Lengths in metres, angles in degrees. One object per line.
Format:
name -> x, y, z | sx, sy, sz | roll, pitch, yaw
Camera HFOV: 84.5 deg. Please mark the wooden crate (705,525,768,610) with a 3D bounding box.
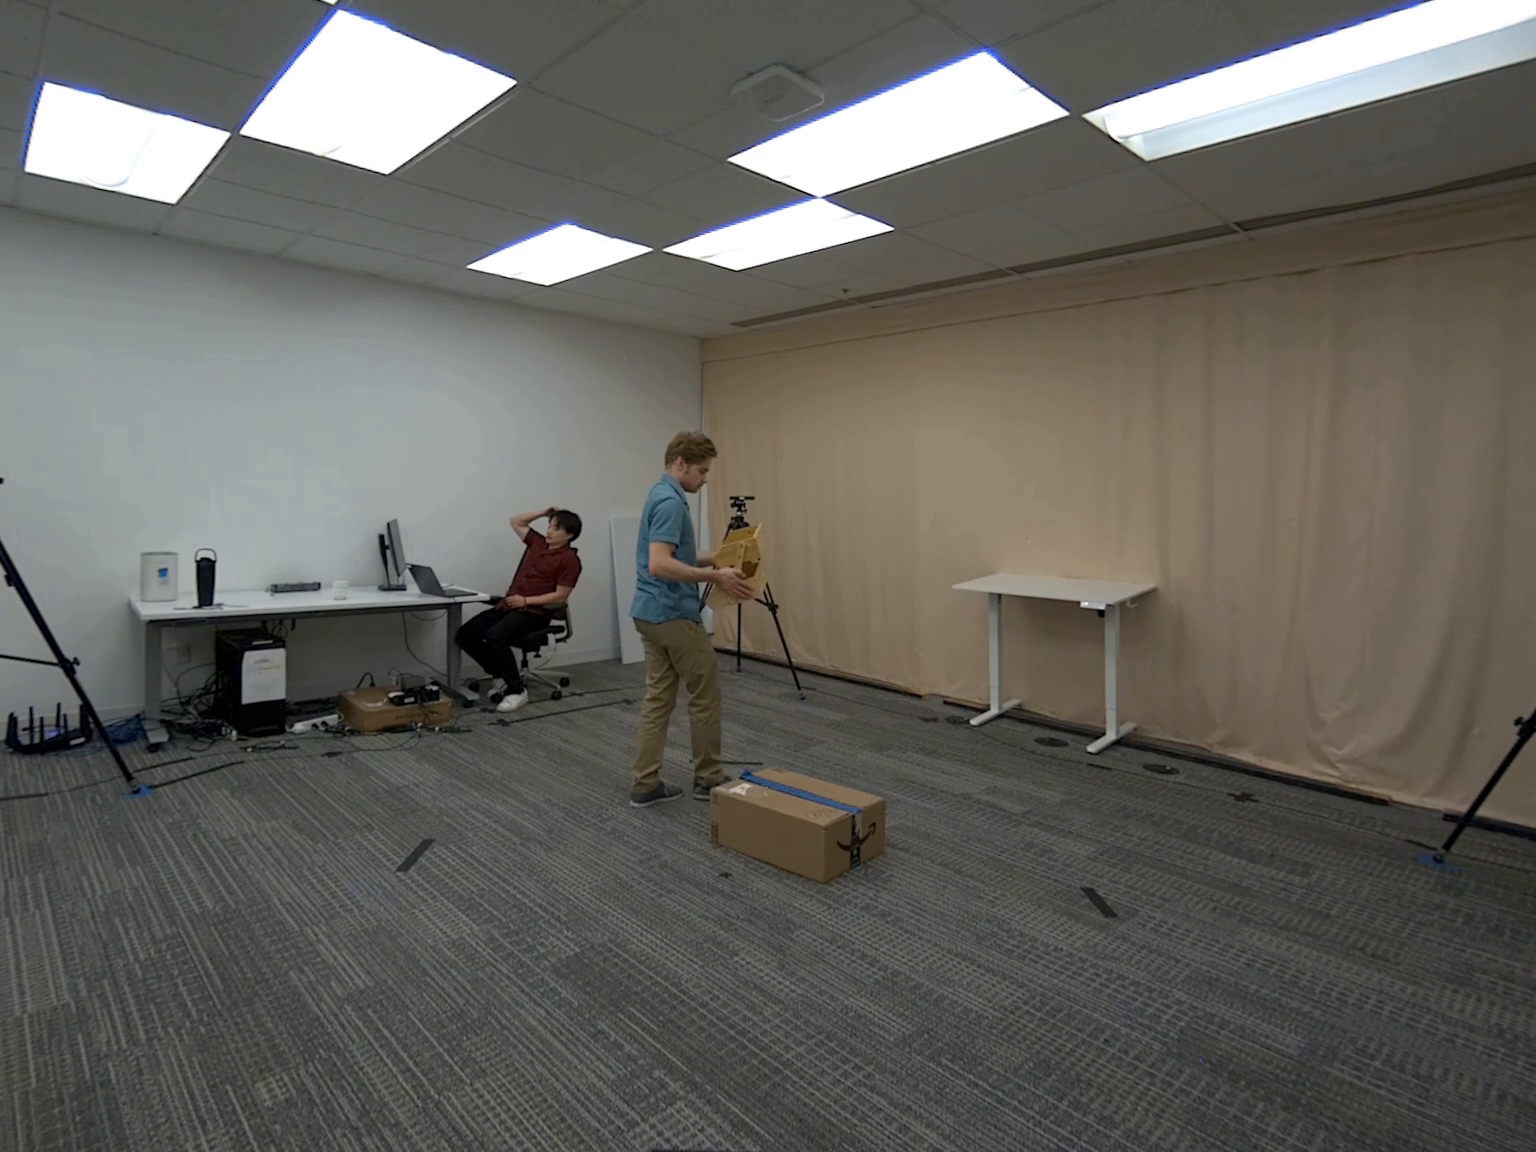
wooden crate -> -0.170, -0.053, 3.791 | 0.304, 0.270, 0.326 | -15, 11, 10
